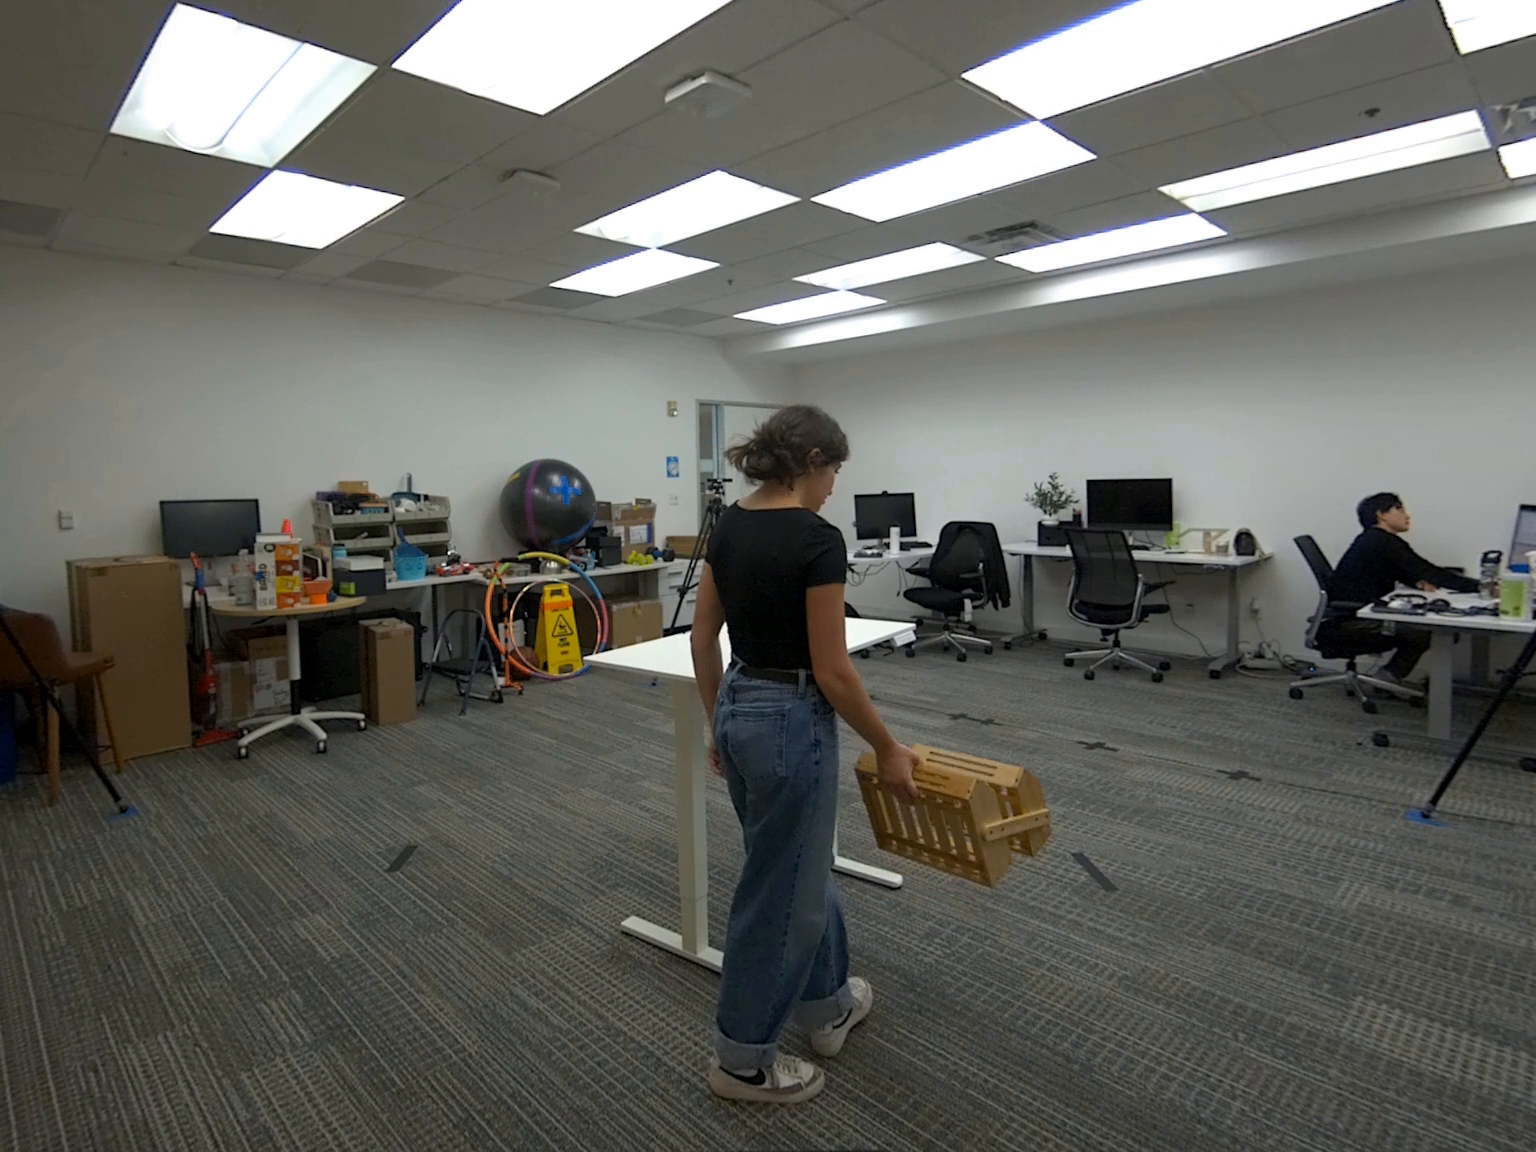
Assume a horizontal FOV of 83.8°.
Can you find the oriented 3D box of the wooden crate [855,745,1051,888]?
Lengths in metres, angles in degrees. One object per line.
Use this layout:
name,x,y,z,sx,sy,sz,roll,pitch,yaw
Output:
wooden crate,0.436,0.508,1.976,0.334,0.296,0.271,1,26,45
